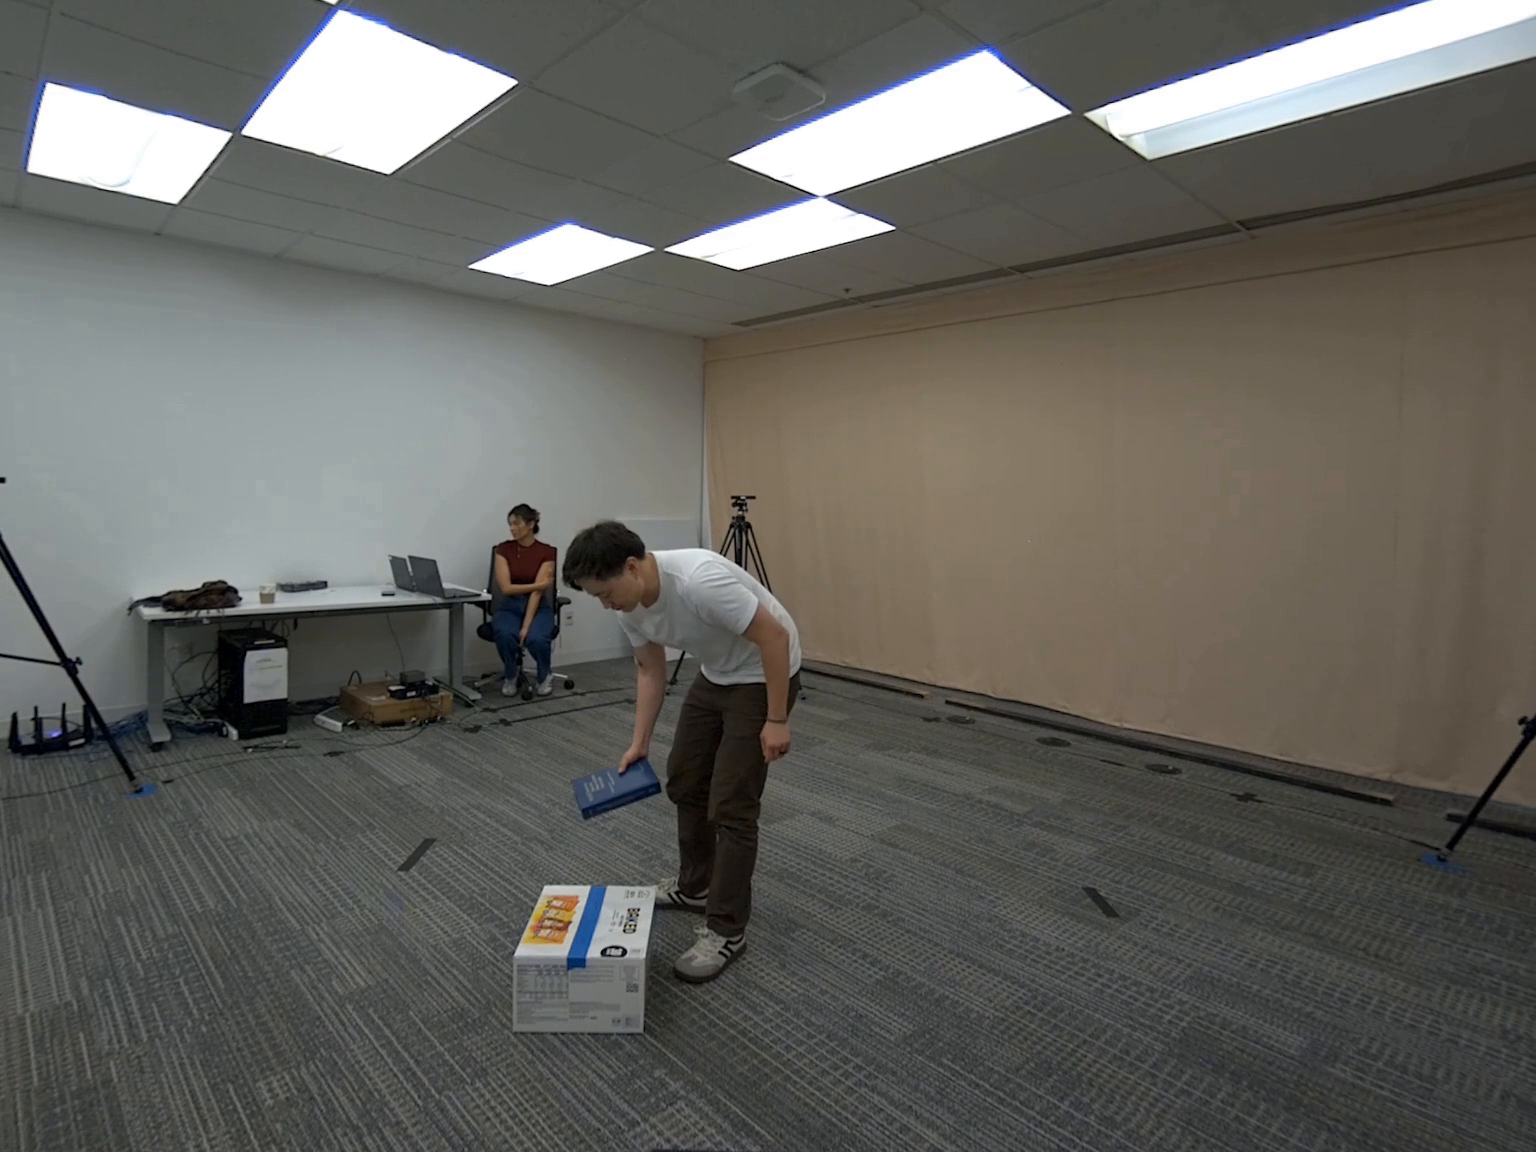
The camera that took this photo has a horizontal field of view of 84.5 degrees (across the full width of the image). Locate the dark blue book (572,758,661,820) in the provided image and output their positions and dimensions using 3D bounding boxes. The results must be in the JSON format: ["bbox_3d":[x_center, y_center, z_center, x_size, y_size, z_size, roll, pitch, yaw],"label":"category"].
[{"bbox_3d":[-0.476,0.644,2.568,0.243,0.044,0.167,-15,19,-15],"label":"dark blue book"}]
